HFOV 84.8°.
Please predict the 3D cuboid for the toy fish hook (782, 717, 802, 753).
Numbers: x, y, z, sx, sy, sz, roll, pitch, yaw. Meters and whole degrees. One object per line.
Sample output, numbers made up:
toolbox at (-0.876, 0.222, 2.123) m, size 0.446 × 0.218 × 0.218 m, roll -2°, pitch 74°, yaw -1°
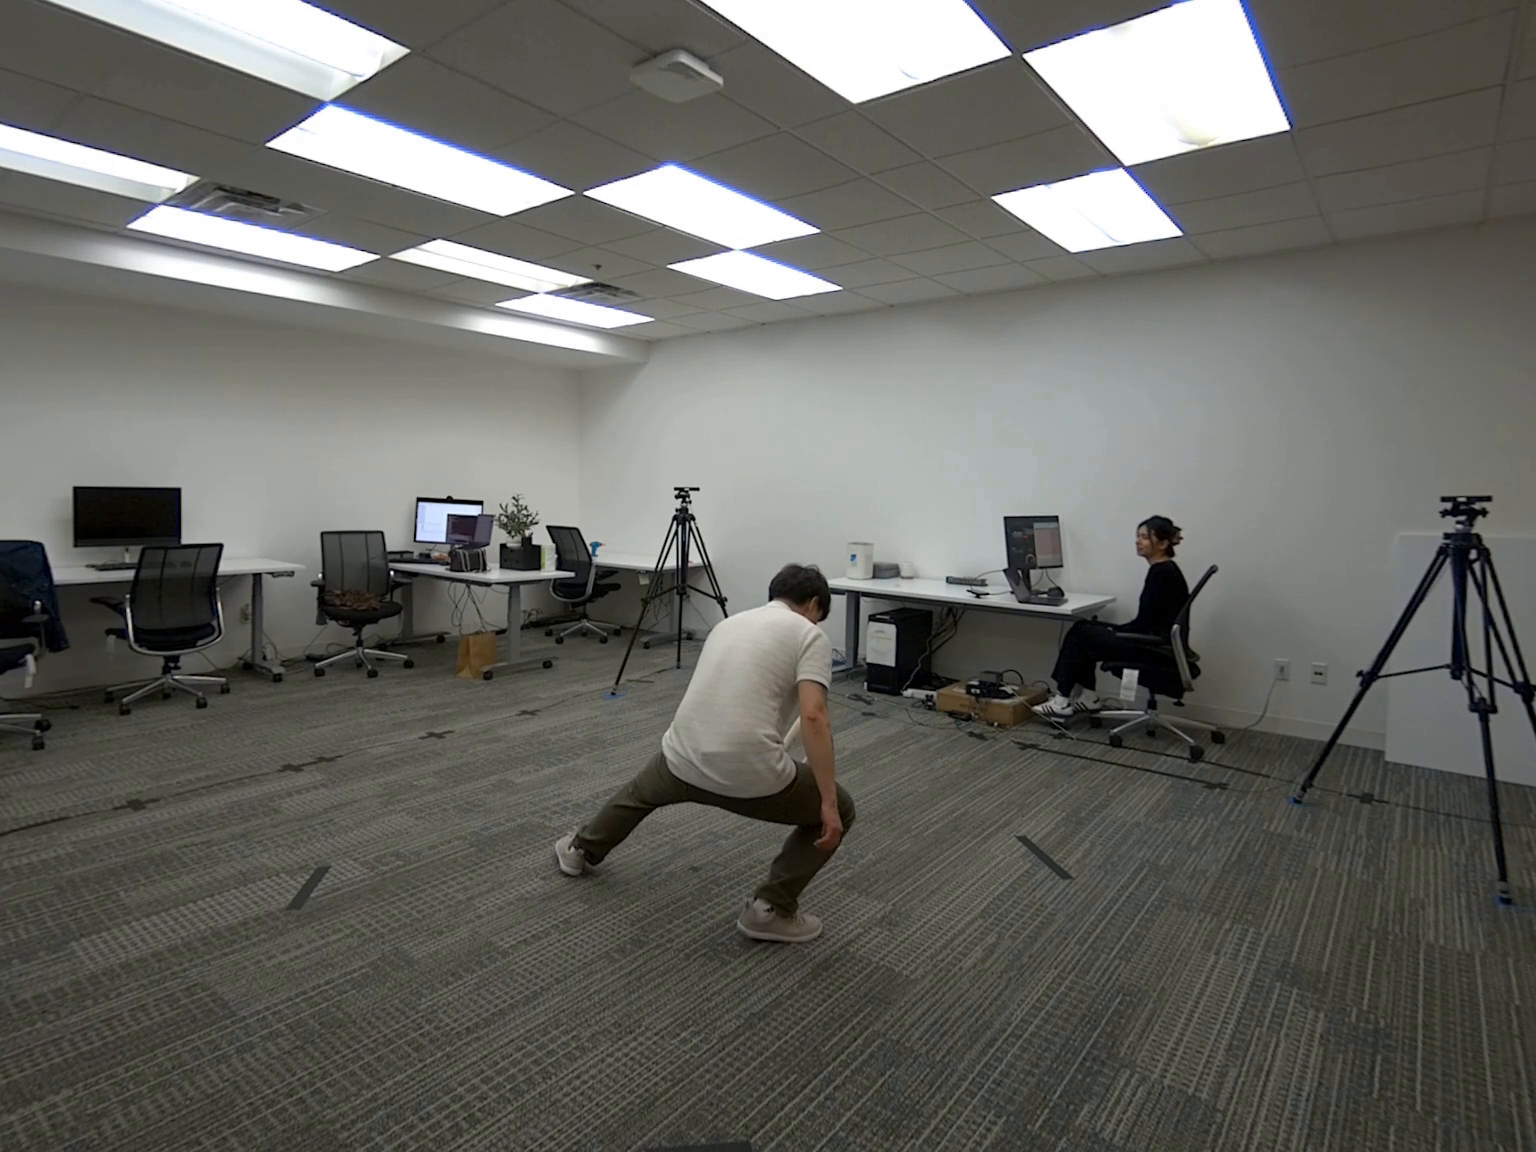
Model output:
toy fish hook at (0.081, 0.659, 3.160) m, size 0.050 × 0.220 × 0.501 m, roll 3°, pitch 25°, yaw 36°
